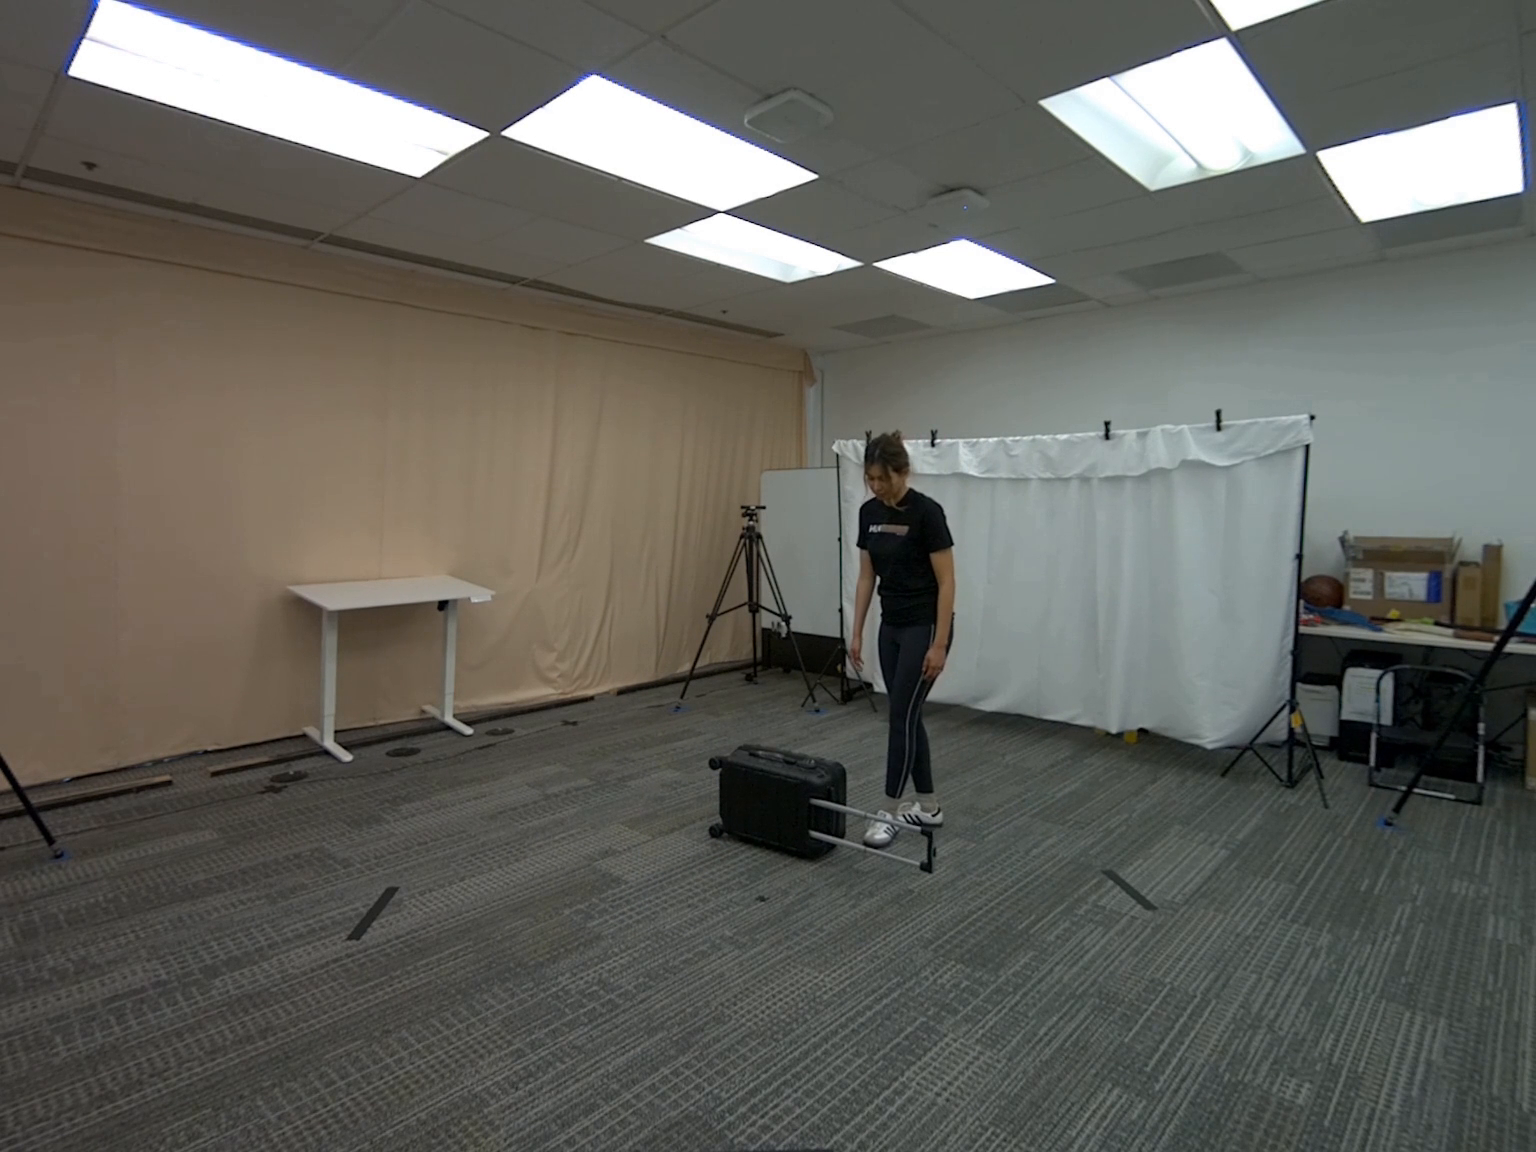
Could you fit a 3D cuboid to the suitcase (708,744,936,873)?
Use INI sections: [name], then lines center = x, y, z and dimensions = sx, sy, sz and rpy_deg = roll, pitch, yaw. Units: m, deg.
[suitcase]
center = 0.225, 0.924, 3.344
dimensions = 1.009, 0.383, 0.250
rpy_deg = 3, 6, 34
